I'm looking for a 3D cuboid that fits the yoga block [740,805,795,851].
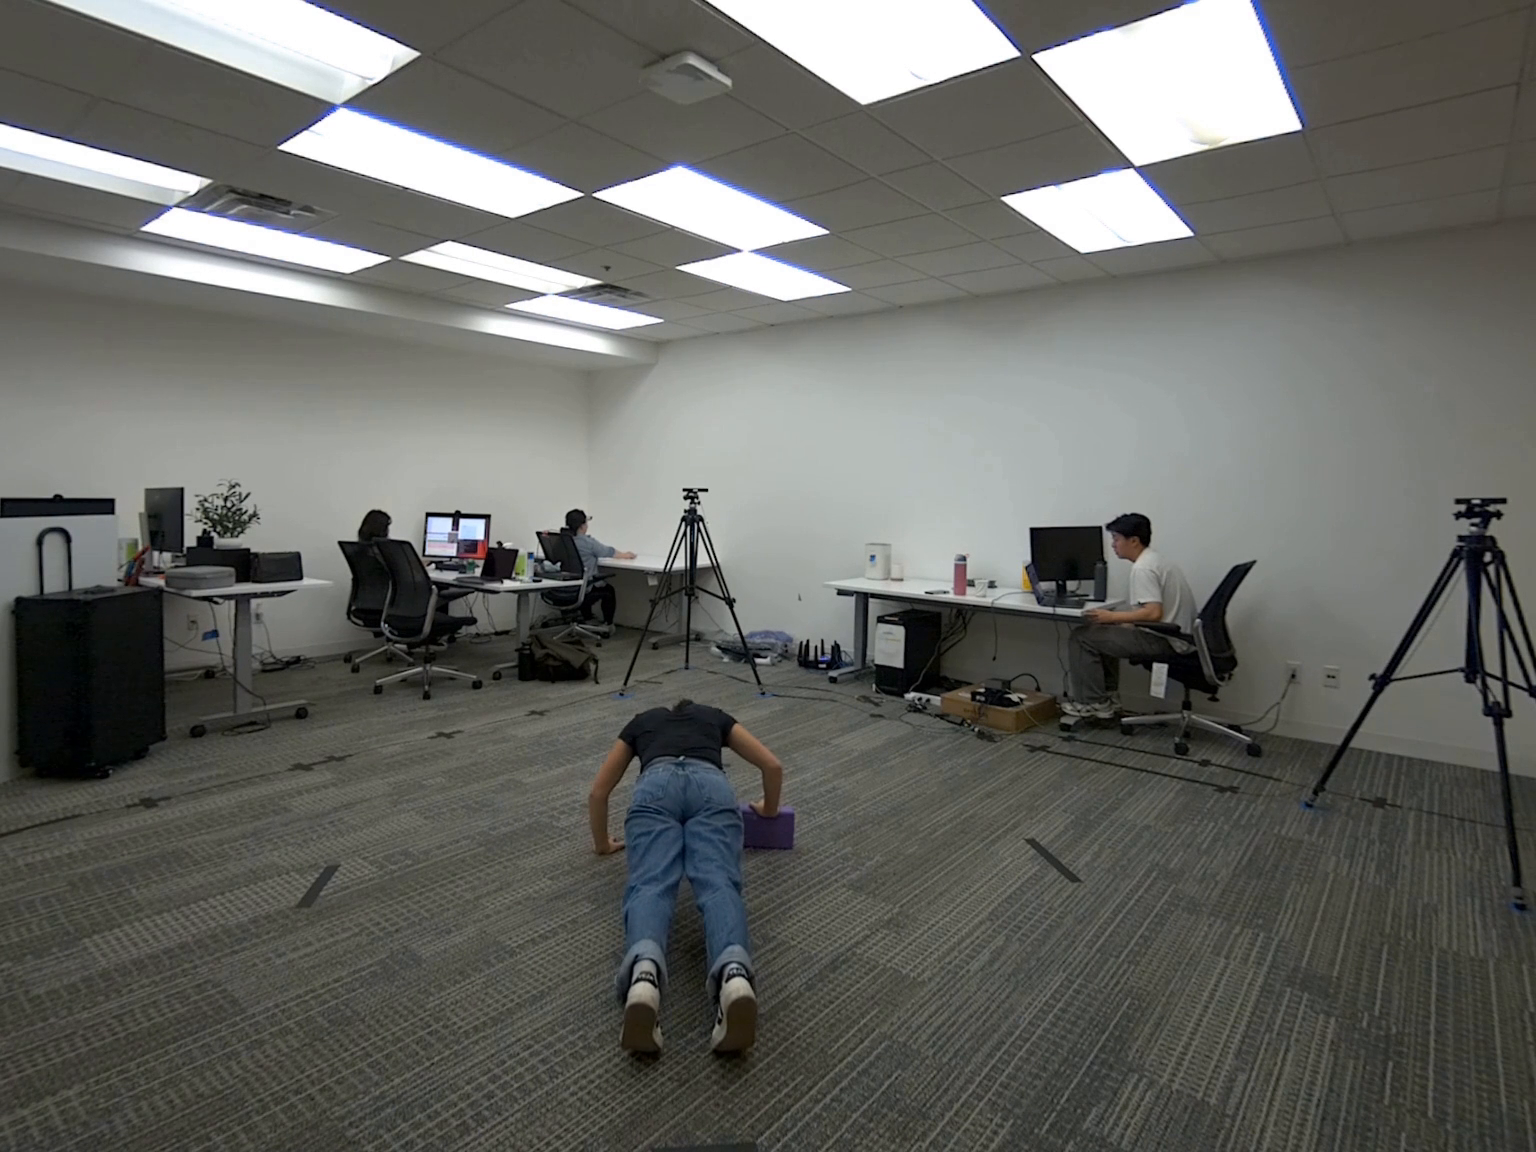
[{"bbox_3d":[-0.011,0.977,3.330,0.229,0.148,0.076,1,4,1],"label":"yoga block"}]
